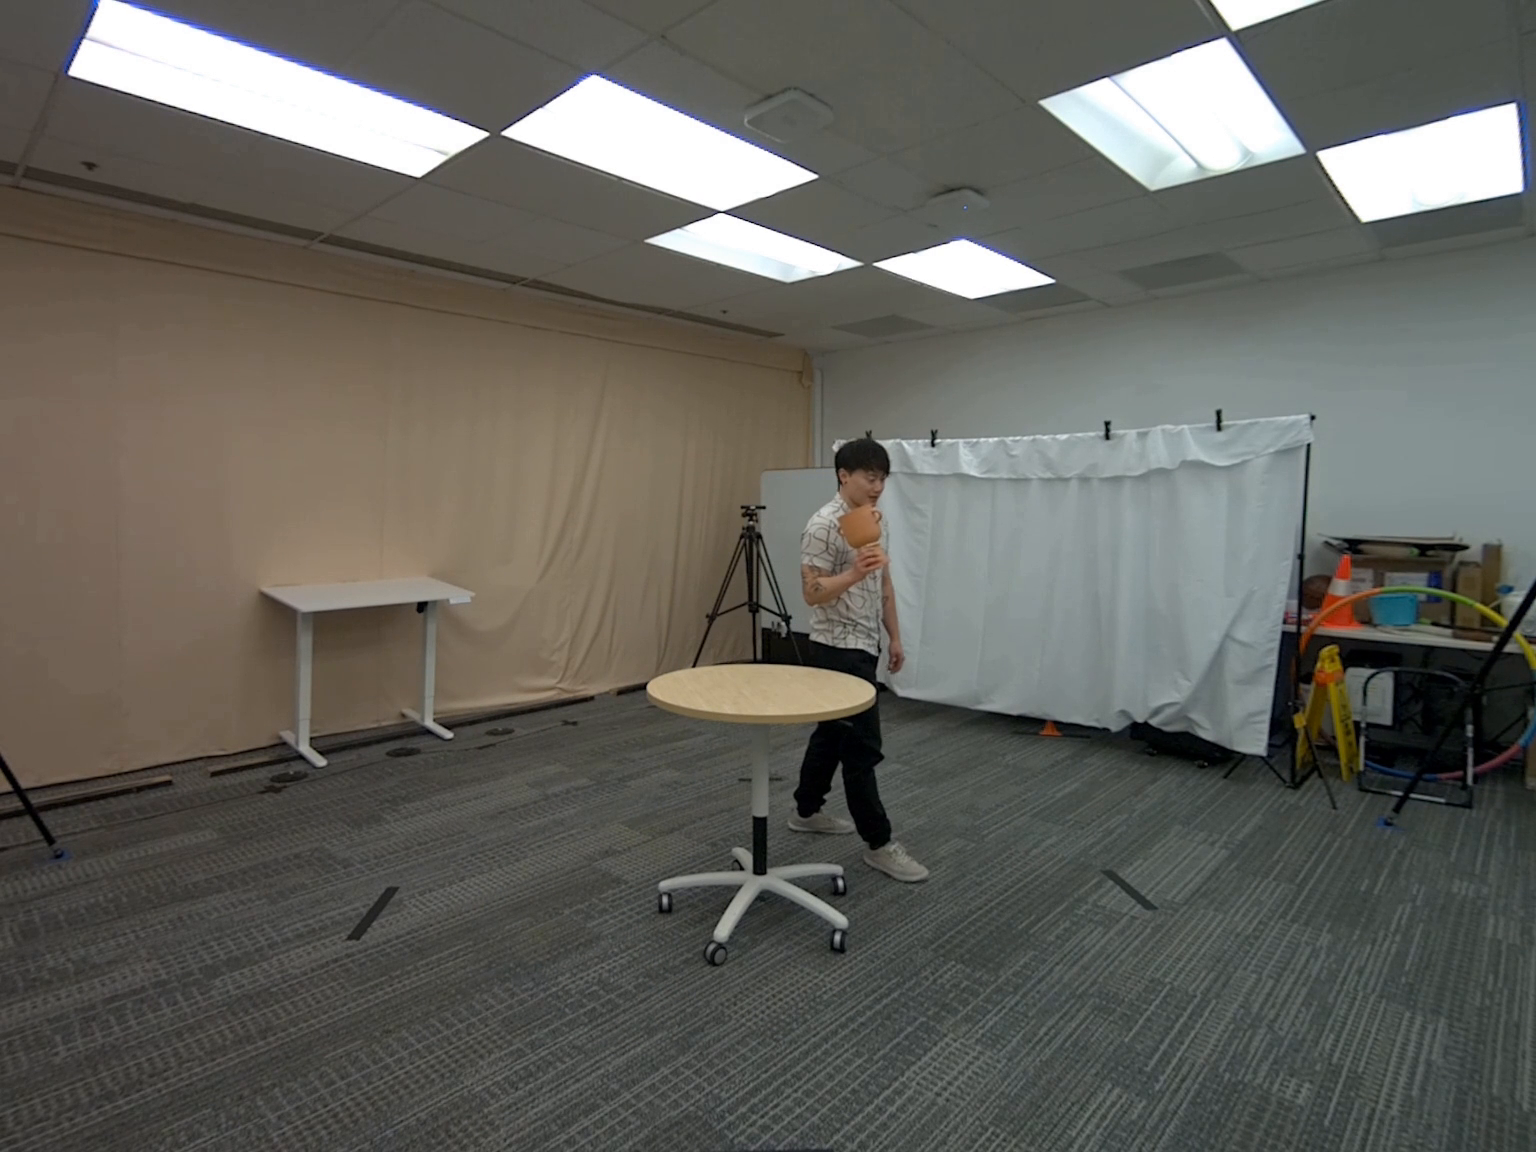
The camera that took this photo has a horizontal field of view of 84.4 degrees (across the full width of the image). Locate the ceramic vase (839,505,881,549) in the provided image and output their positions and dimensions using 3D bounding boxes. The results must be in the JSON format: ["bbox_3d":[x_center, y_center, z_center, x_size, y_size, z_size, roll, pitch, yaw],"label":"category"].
[{"bbox_3d":[0.353,-0.138,3.045,0.133,0.221,0.160,-23,-4,-13],"label":"ceramic vase"}]
